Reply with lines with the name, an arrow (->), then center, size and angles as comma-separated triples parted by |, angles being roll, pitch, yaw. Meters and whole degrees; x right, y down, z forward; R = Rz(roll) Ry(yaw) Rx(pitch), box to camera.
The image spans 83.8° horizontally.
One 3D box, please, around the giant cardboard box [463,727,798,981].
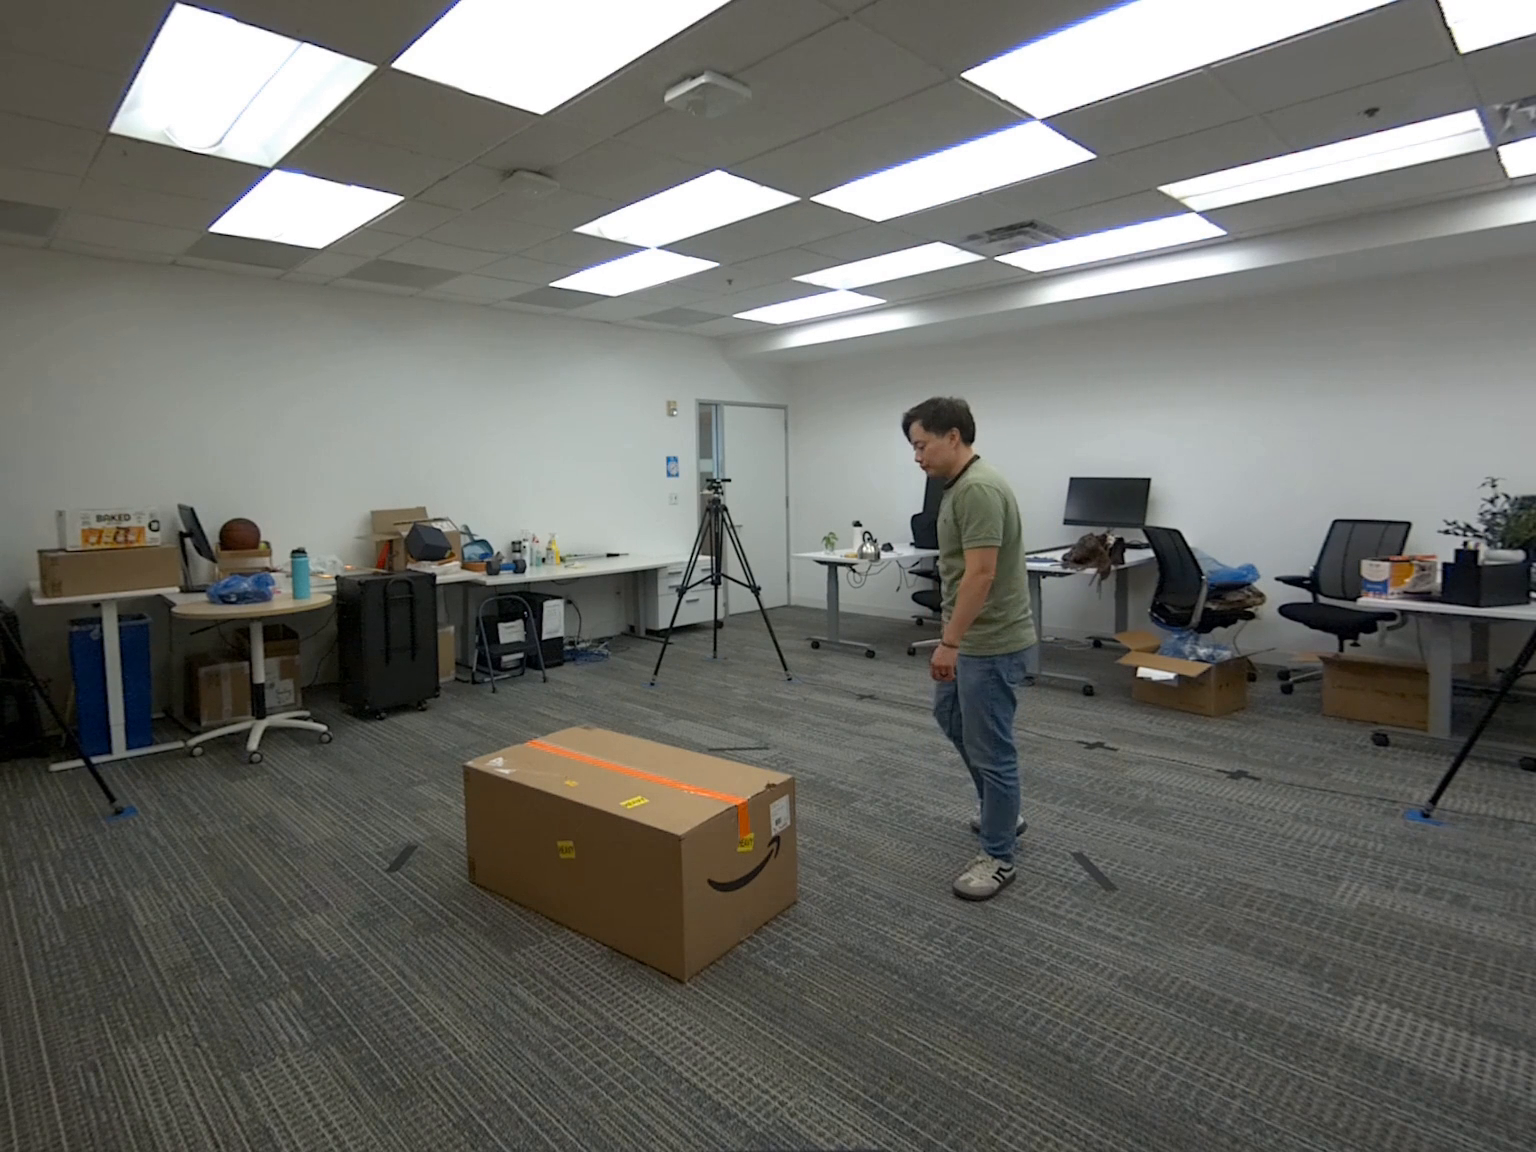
giant cardboard box -> -0.482, 0.860, 2.904 | 1.056, 0.424, 0.563 | 4, 8, 37
